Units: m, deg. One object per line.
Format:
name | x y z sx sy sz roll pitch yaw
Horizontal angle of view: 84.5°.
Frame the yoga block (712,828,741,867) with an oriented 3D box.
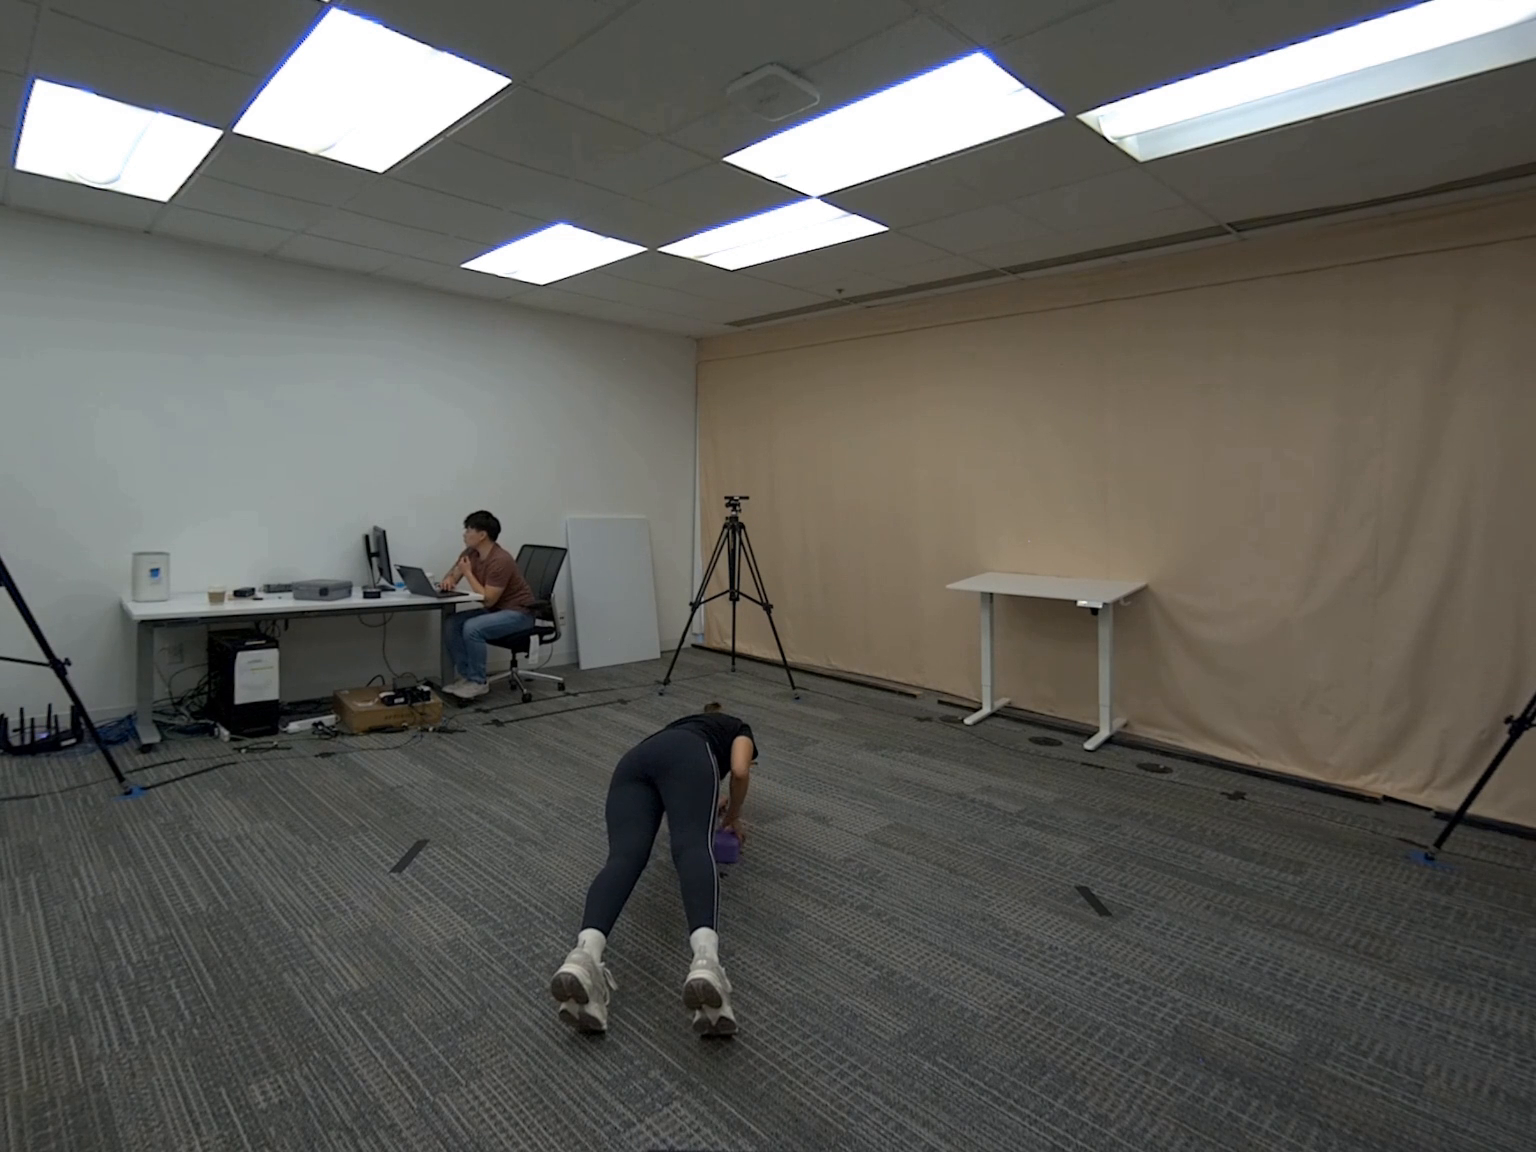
yoga block | -0.219 1.052 3.280 0.231 0.076 0.149 3 7 7
